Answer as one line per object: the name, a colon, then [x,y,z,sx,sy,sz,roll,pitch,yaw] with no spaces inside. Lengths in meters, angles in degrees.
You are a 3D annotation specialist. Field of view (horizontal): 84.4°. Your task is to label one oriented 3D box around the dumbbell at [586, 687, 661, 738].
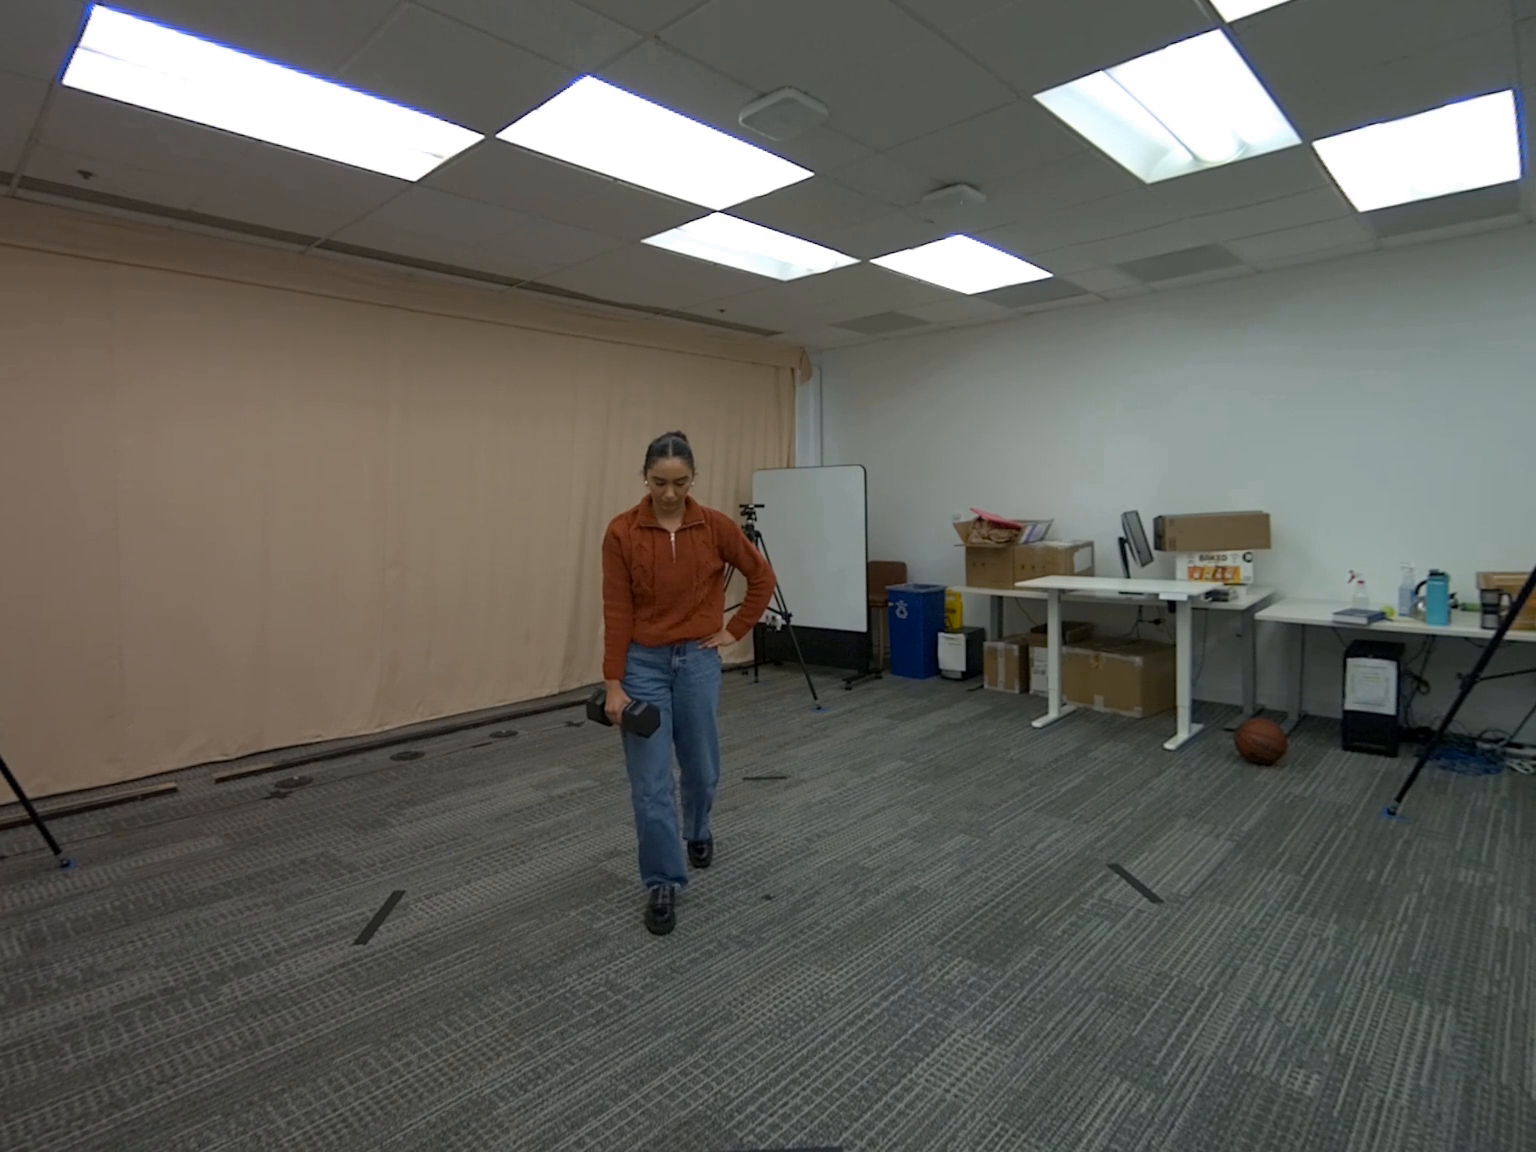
dumbbell: [-0.472,0.455,2.771,0.105,0.122,0.303,-7,6,-42]
